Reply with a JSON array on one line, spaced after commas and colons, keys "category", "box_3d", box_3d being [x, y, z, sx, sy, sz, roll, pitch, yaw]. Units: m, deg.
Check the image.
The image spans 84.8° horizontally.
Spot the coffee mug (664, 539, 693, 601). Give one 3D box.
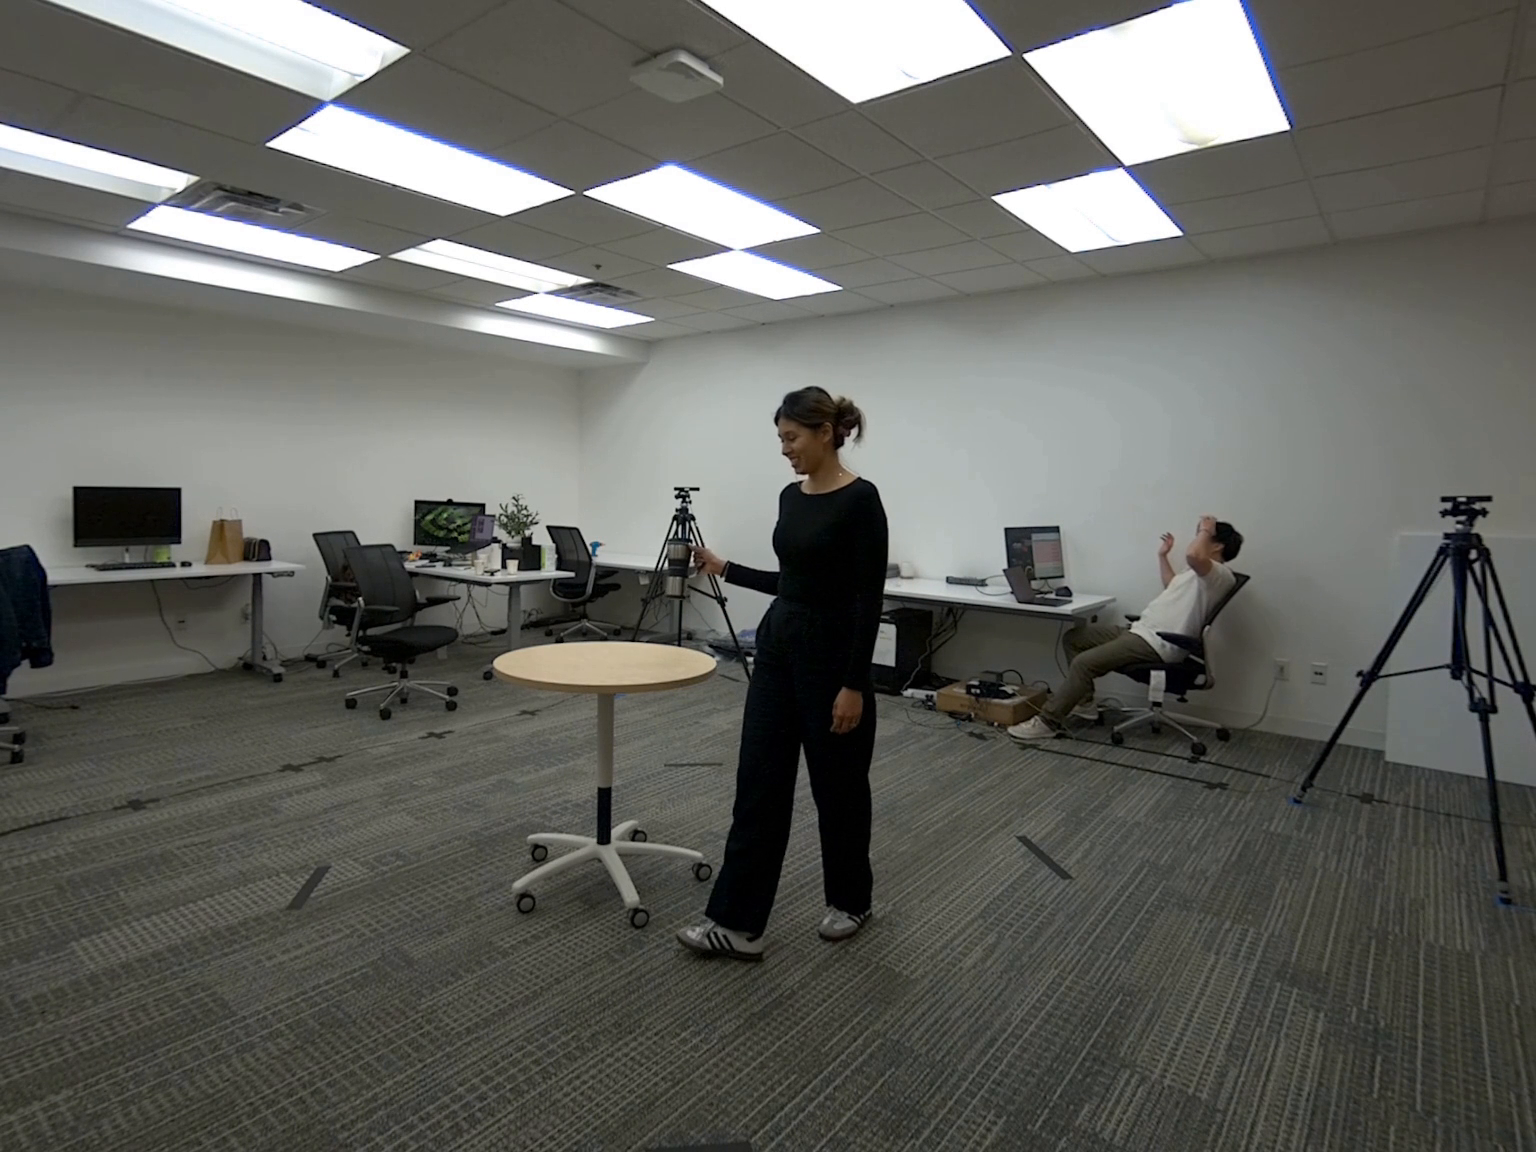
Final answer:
[{"category": "coffee mug", "box_3d": [-0.297, -0.024, 2.848, 0.125, 0.204, 0.085, -3, -9, 30]}]
